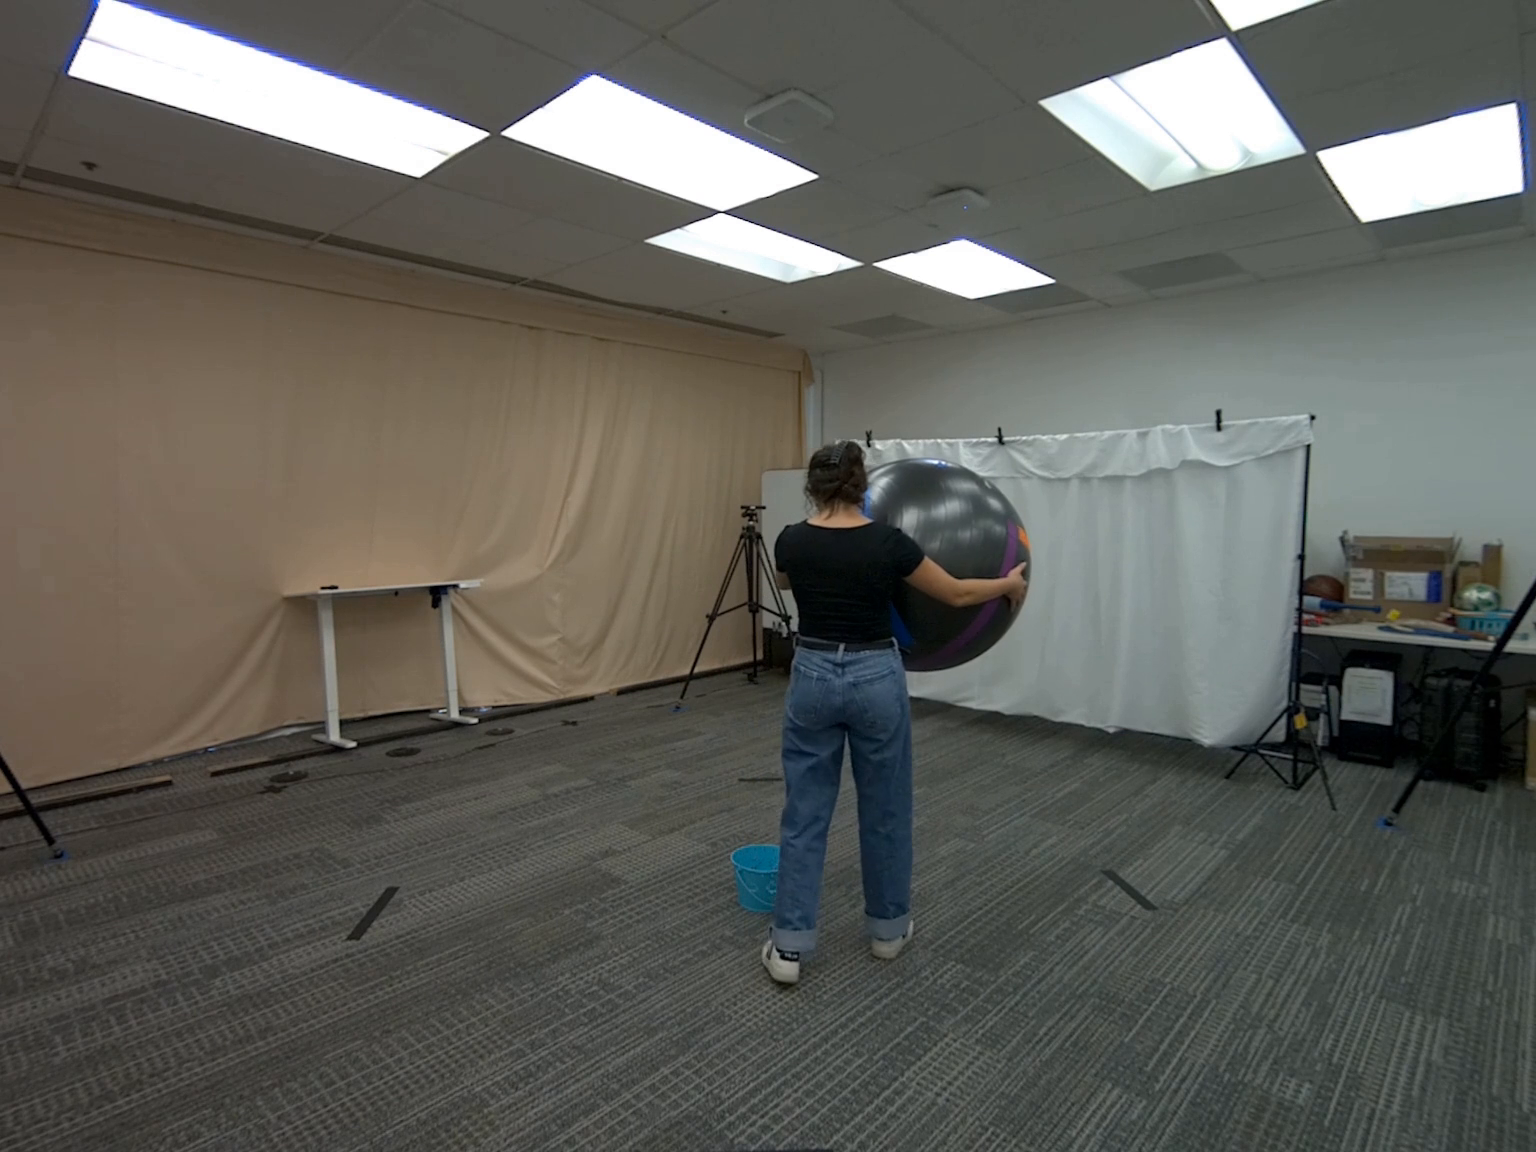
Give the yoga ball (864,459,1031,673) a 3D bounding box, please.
[{"bbox_3d":[0.537,-0.029,3.009,0.757,0.756,0.760,0,4,-2],"label":"yoga ball"}]
